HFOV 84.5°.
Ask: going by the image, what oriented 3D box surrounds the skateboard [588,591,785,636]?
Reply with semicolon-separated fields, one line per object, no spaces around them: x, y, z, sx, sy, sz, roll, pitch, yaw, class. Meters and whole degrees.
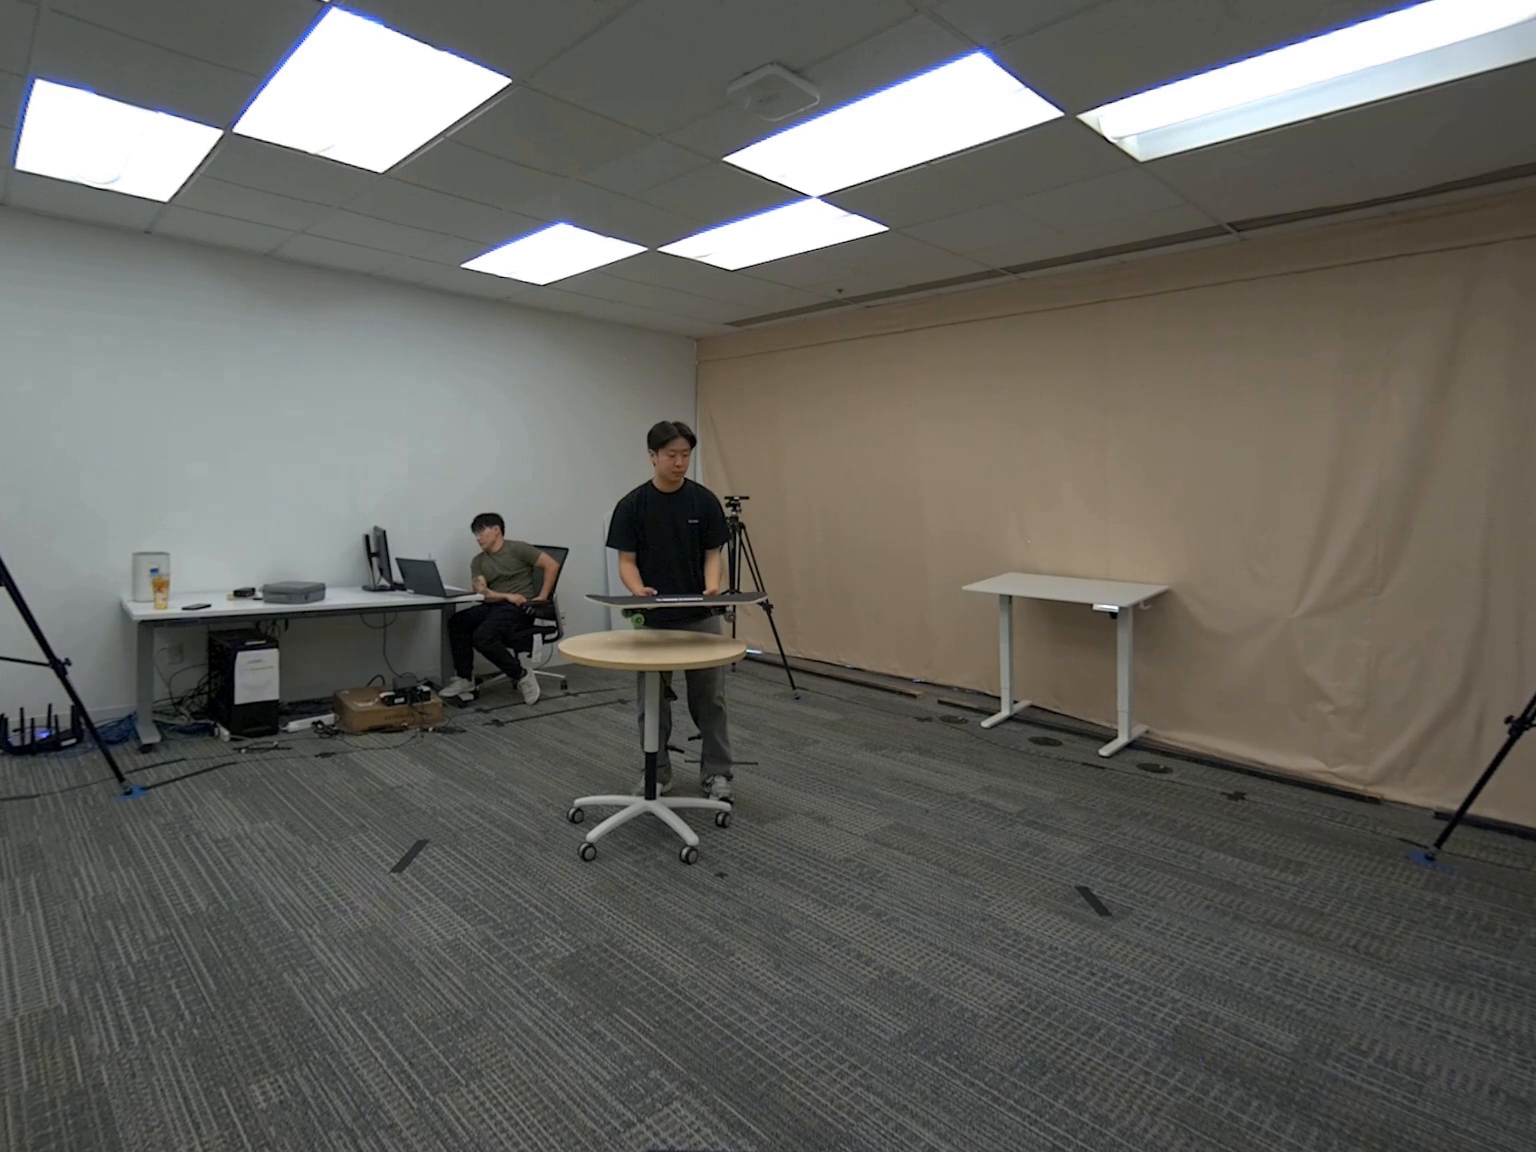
-0.330;0.146;3.478;0.772;0.110;0.198;-2;9;-24;skateboard
